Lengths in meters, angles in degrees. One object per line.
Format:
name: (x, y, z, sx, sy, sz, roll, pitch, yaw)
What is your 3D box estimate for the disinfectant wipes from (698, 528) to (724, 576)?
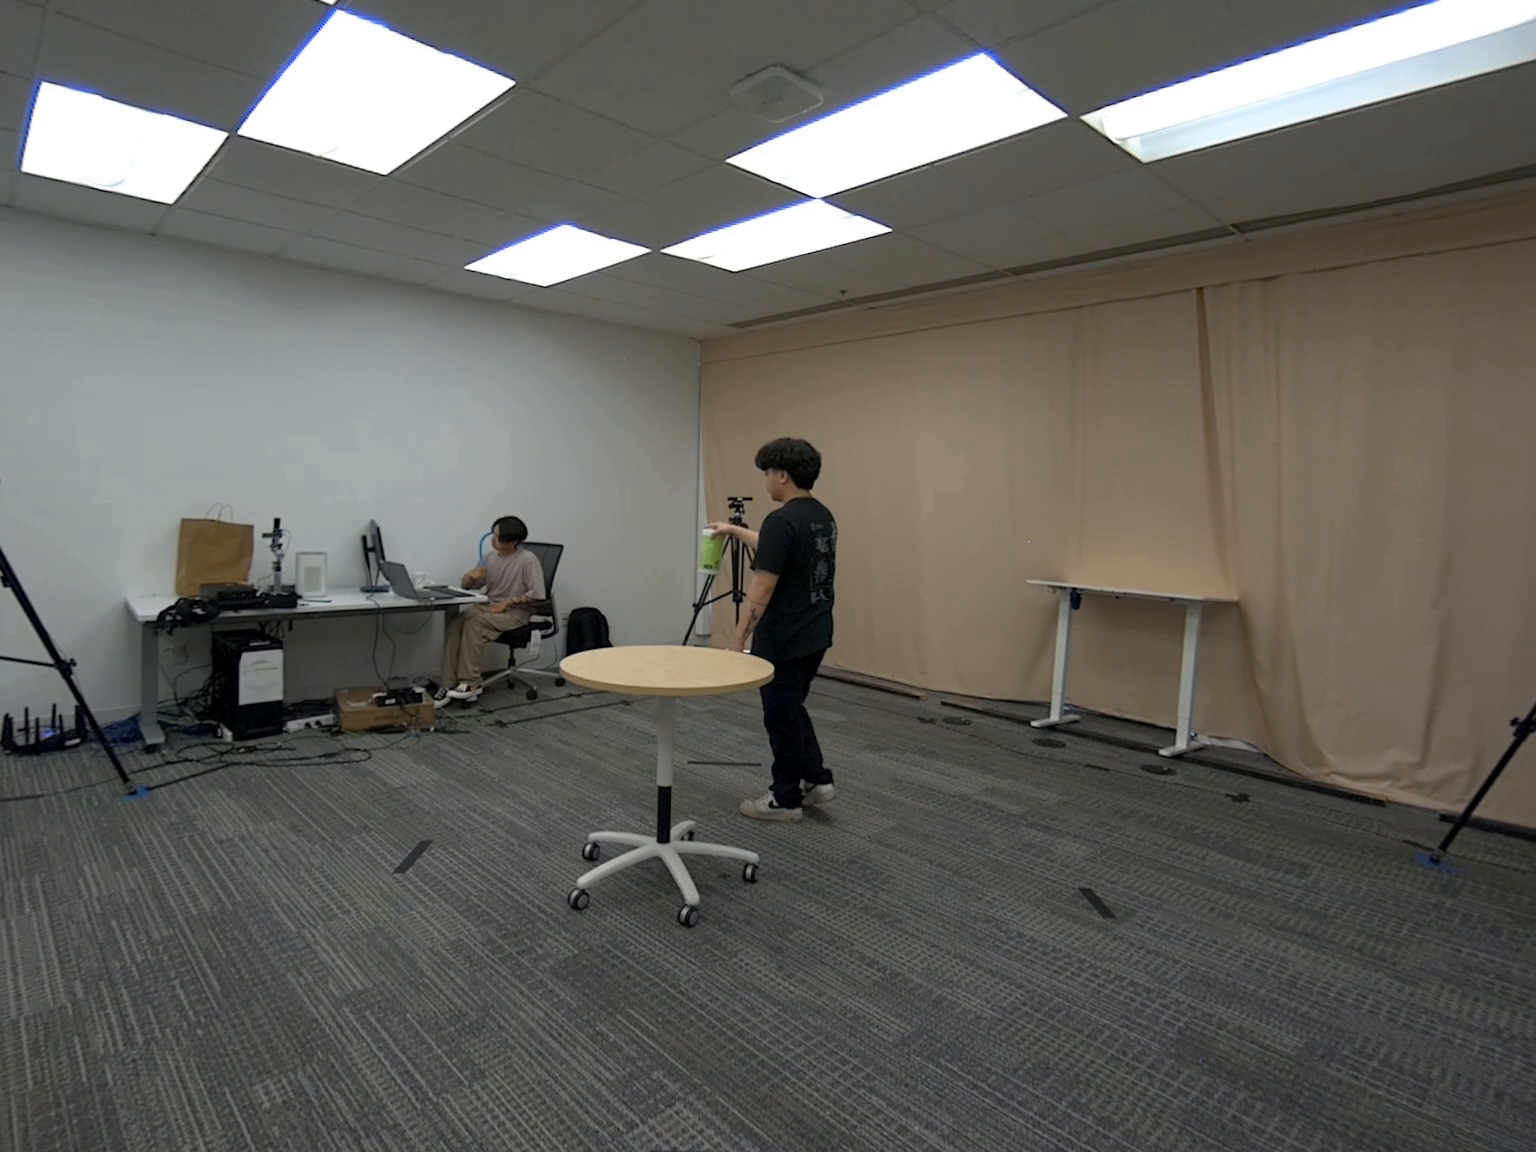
disinfectant wipes: (-0.284, -0.121, 4.090, 0.117, 0.216, 0.118, 5, 8, -2)
